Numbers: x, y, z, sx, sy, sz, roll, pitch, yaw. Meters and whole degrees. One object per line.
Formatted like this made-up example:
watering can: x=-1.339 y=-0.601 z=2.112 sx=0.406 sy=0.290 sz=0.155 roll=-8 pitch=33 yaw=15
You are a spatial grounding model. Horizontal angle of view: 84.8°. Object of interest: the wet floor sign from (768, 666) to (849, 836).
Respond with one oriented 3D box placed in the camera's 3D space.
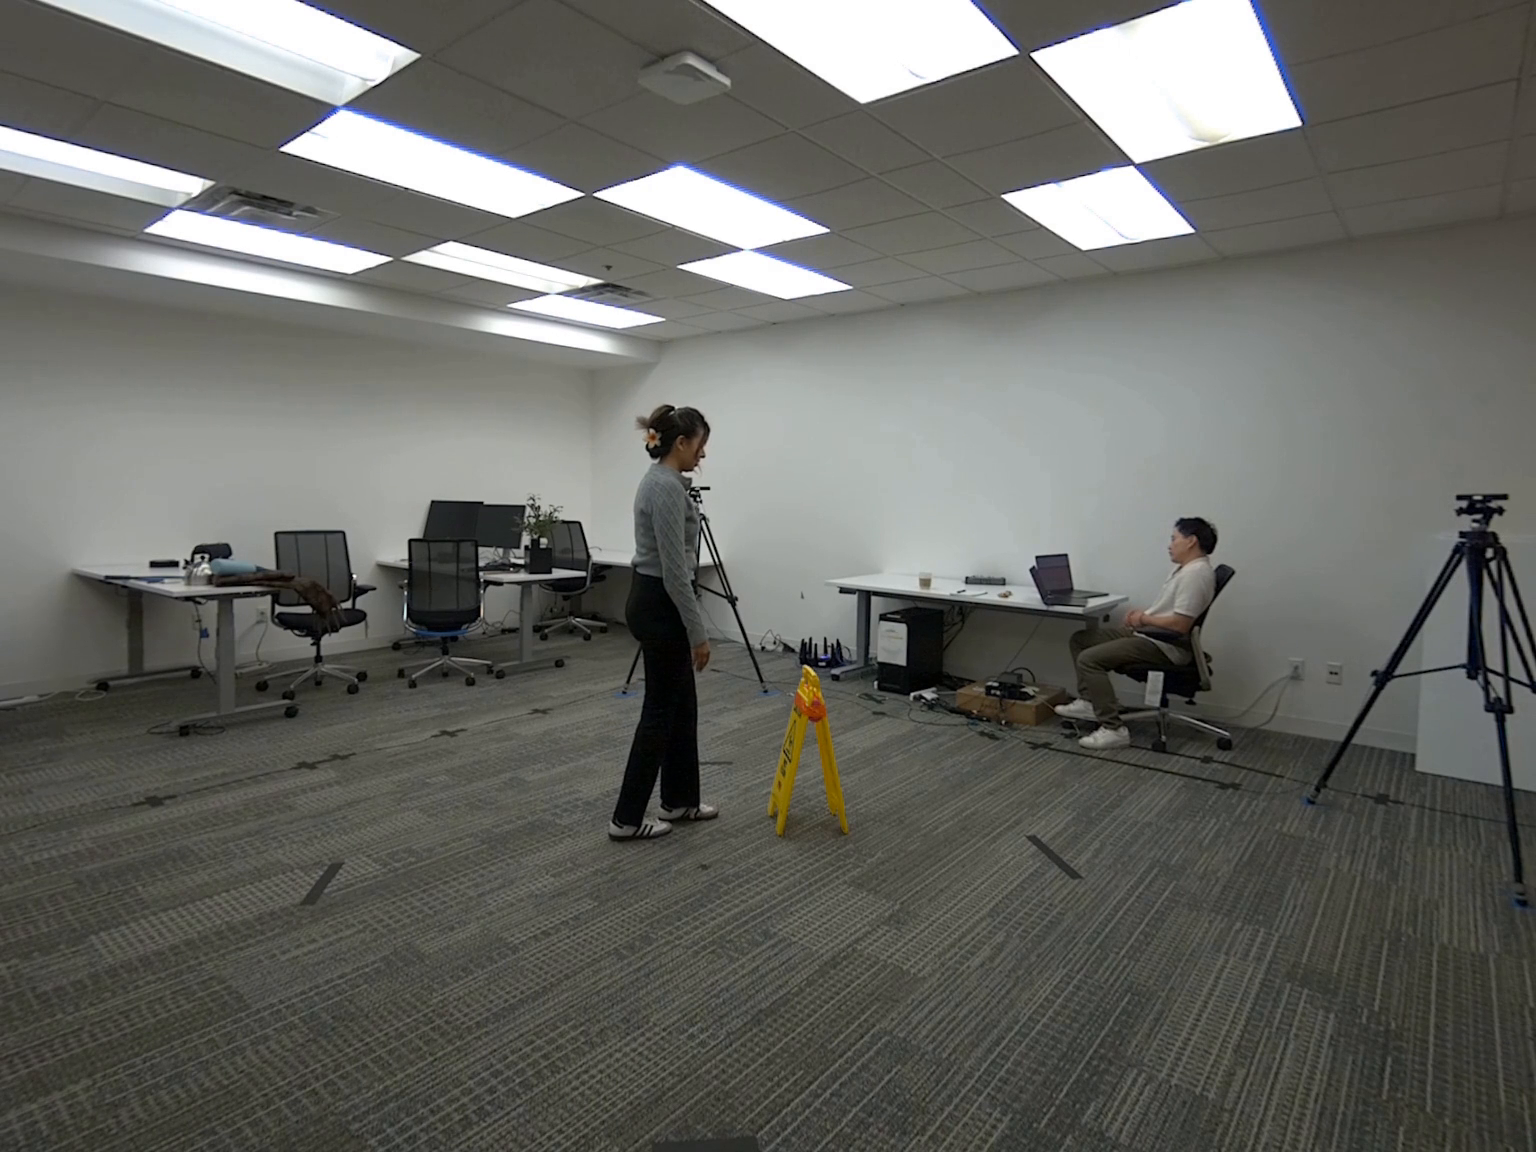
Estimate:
wet floor sign: x=0.163 y=0.704 z=3.527 sx=0.287 sy=0.643 sz=0.286 roll=2 pitch=6 yaw=-9
